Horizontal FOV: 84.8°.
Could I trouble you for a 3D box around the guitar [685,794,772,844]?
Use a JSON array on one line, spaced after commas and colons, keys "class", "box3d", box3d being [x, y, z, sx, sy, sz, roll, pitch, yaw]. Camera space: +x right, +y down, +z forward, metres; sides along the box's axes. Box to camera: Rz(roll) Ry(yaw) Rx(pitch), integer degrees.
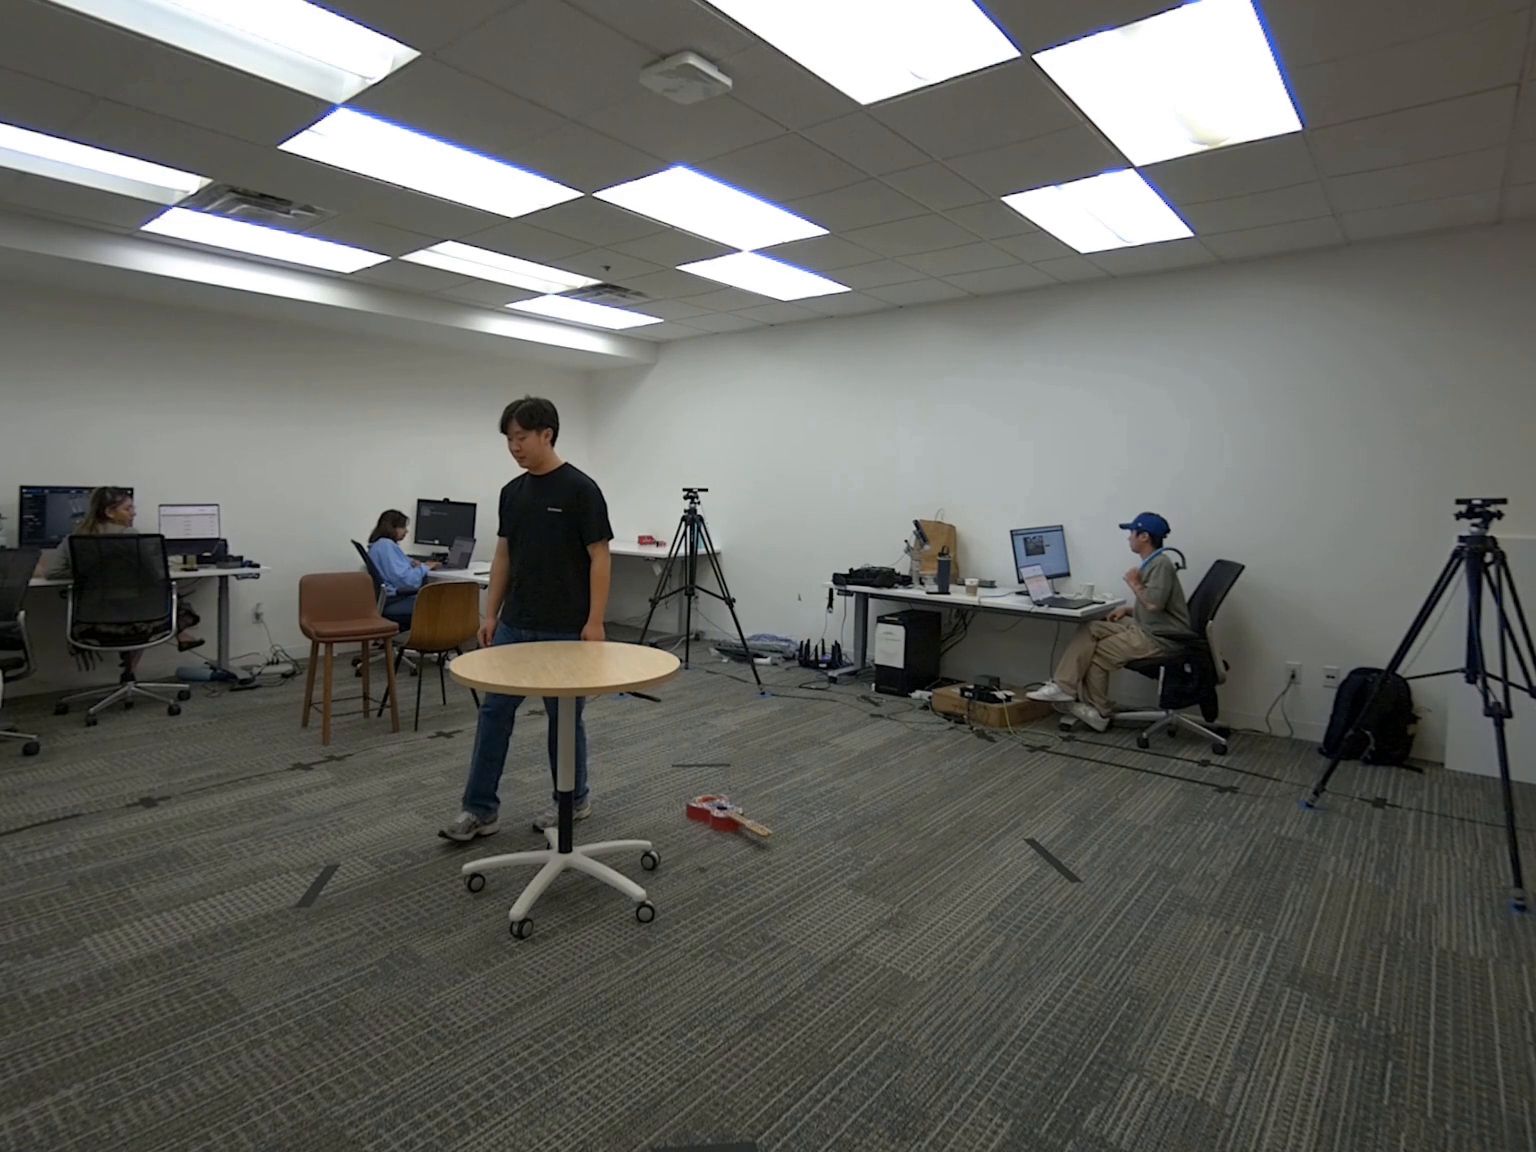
[{"class": "guitar", "box3d": [-0.182, 0.999, 3.482, 0.188, 0.070, 0.512, -1, 5, -27]}]
